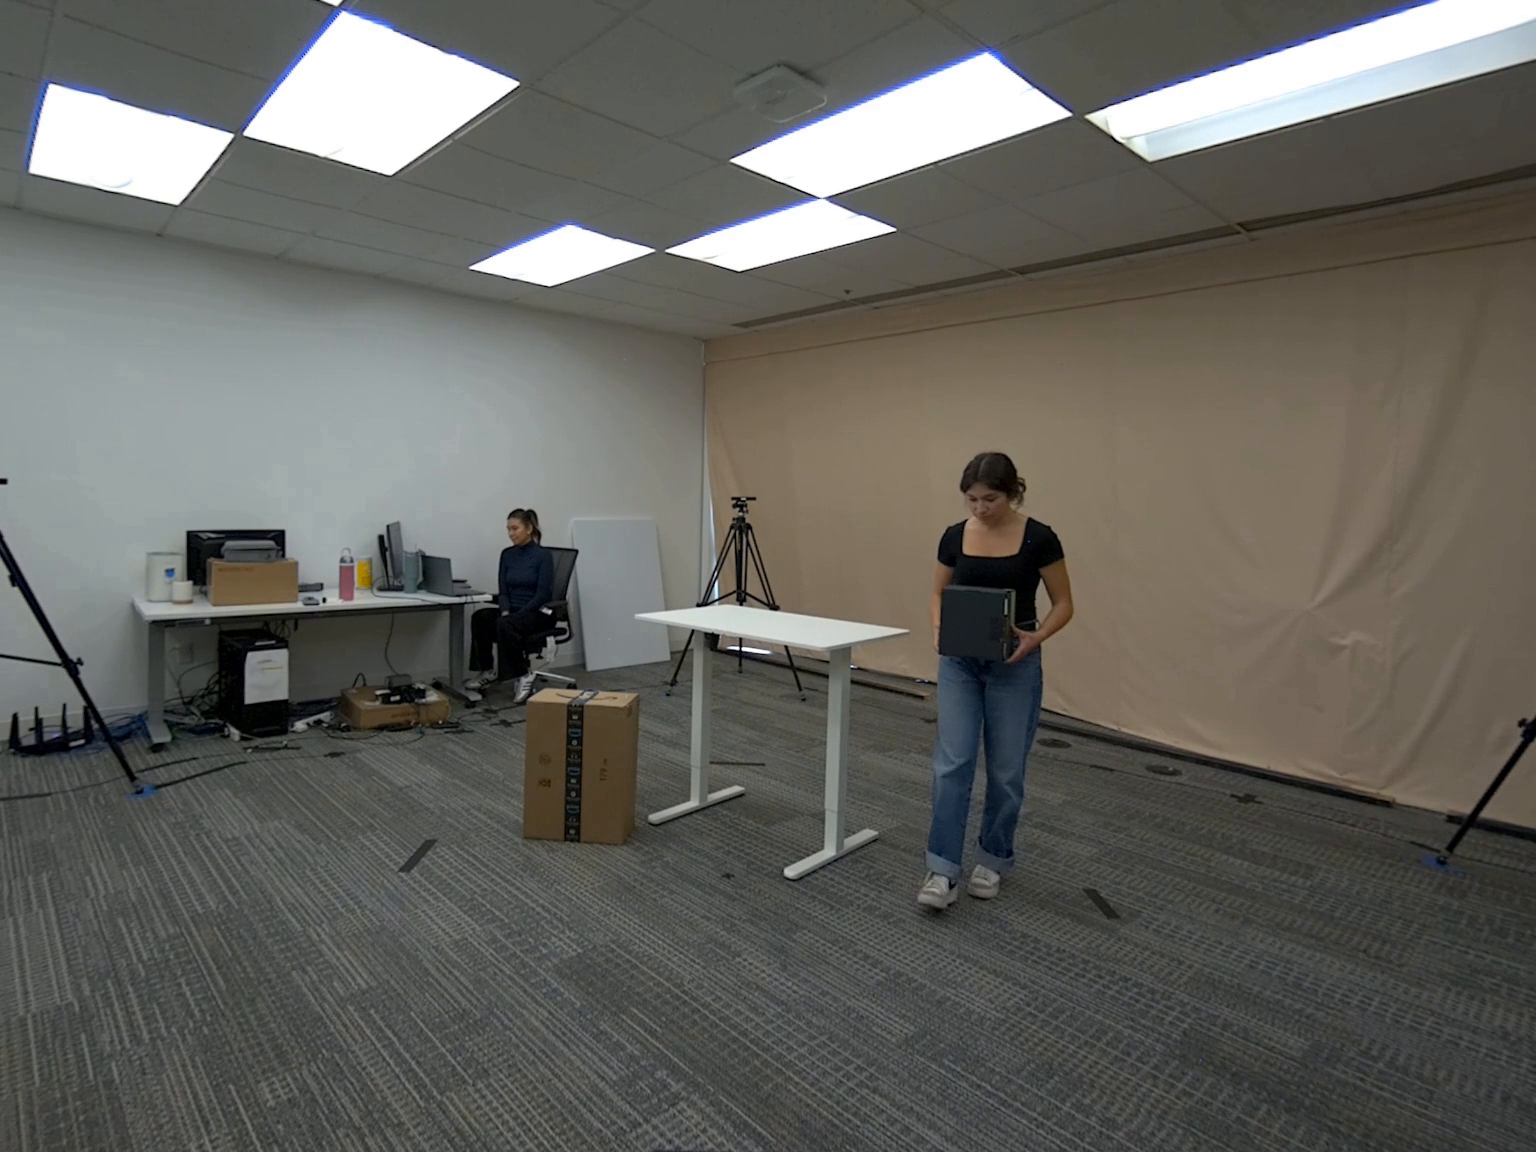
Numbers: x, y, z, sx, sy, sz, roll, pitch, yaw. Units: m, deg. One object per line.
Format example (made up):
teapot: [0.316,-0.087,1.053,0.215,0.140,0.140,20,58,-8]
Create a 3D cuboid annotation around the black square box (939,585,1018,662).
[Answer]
black square box: [0.709,0.155,2.816,0.221,0.227,0.153,5,4,28]
